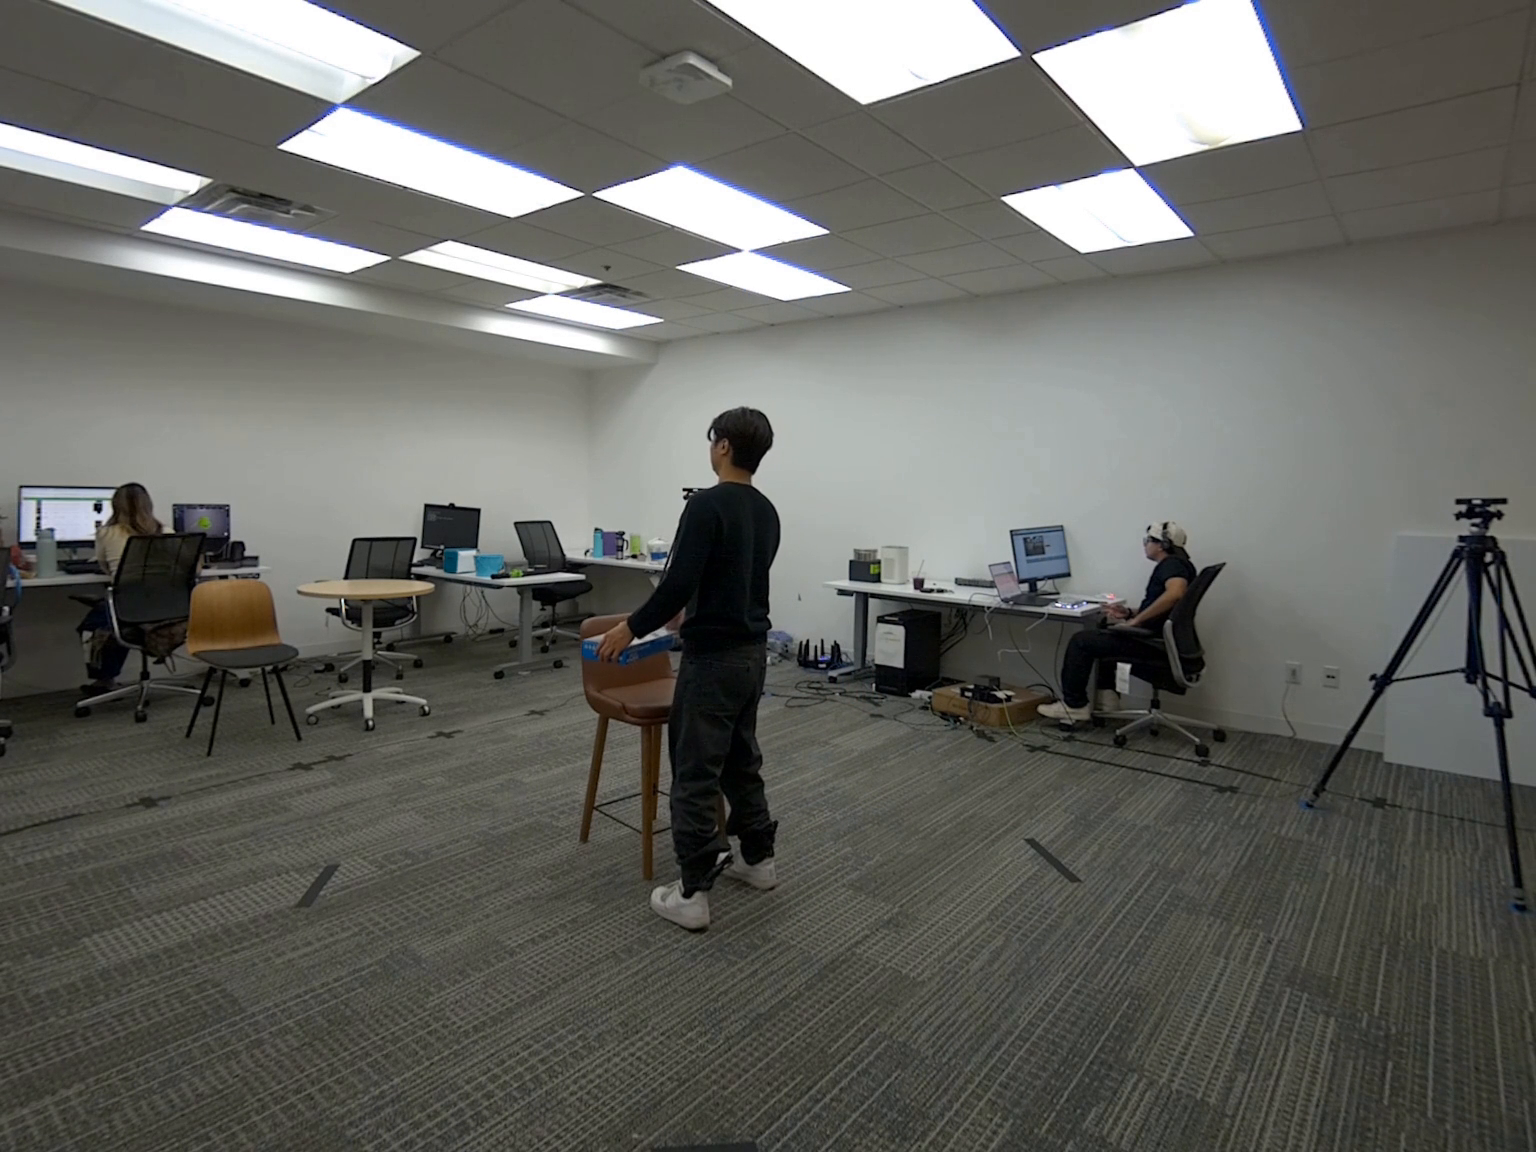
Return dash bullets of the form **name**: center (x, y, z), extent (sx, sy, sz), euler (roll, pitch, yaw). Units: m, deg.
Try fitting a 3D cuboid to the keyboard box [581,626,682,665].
- **keyboard box**: center (-0.473, 0.234, 3.008), extent (0.180, 0.059, 0.428), euler (6, 7, 21)
